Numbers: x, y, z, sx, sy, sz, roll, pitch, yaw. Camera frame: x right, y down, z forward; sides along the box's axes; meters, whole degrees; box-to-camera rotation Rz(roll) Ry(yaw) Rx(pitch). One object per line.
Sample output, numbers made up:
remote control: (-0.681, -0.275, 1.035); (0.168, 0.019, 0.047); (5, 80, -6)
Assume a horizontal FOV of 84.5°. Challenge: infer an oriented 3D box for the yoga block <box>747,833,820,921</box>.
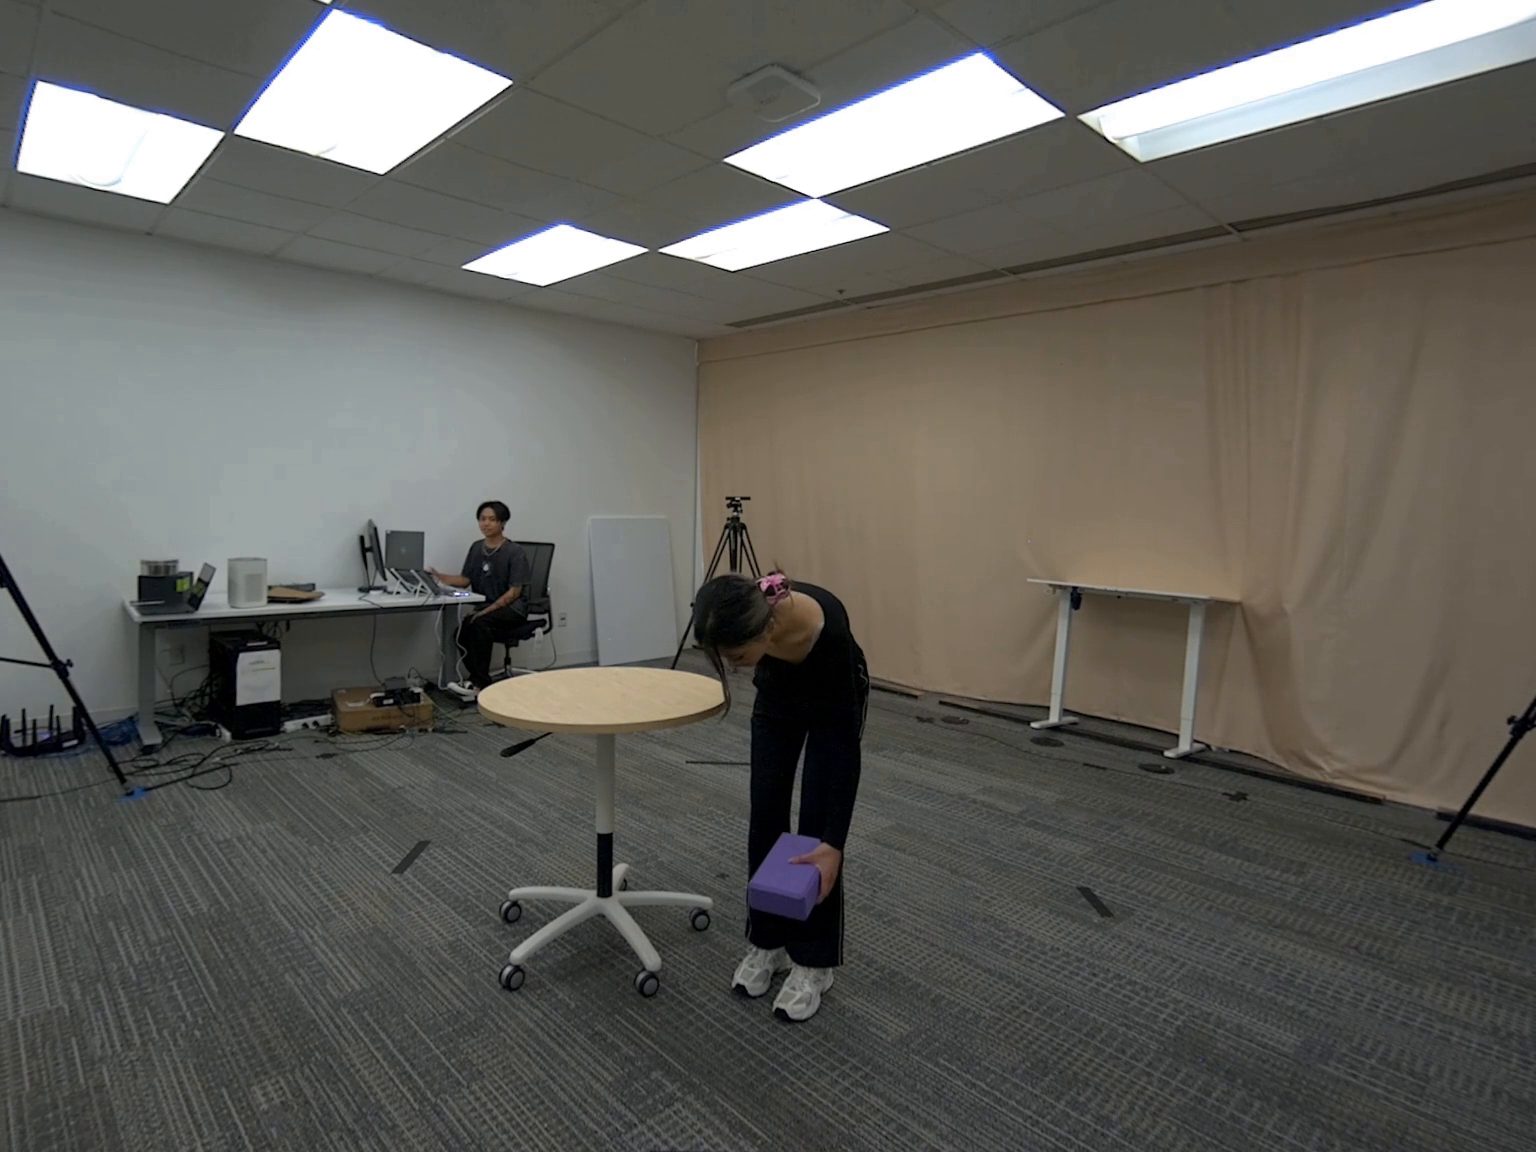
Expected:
yoga block: (0.052, 0.753, 2.088); (0.152, 0.075, 0.227); (6, 17, 27)
